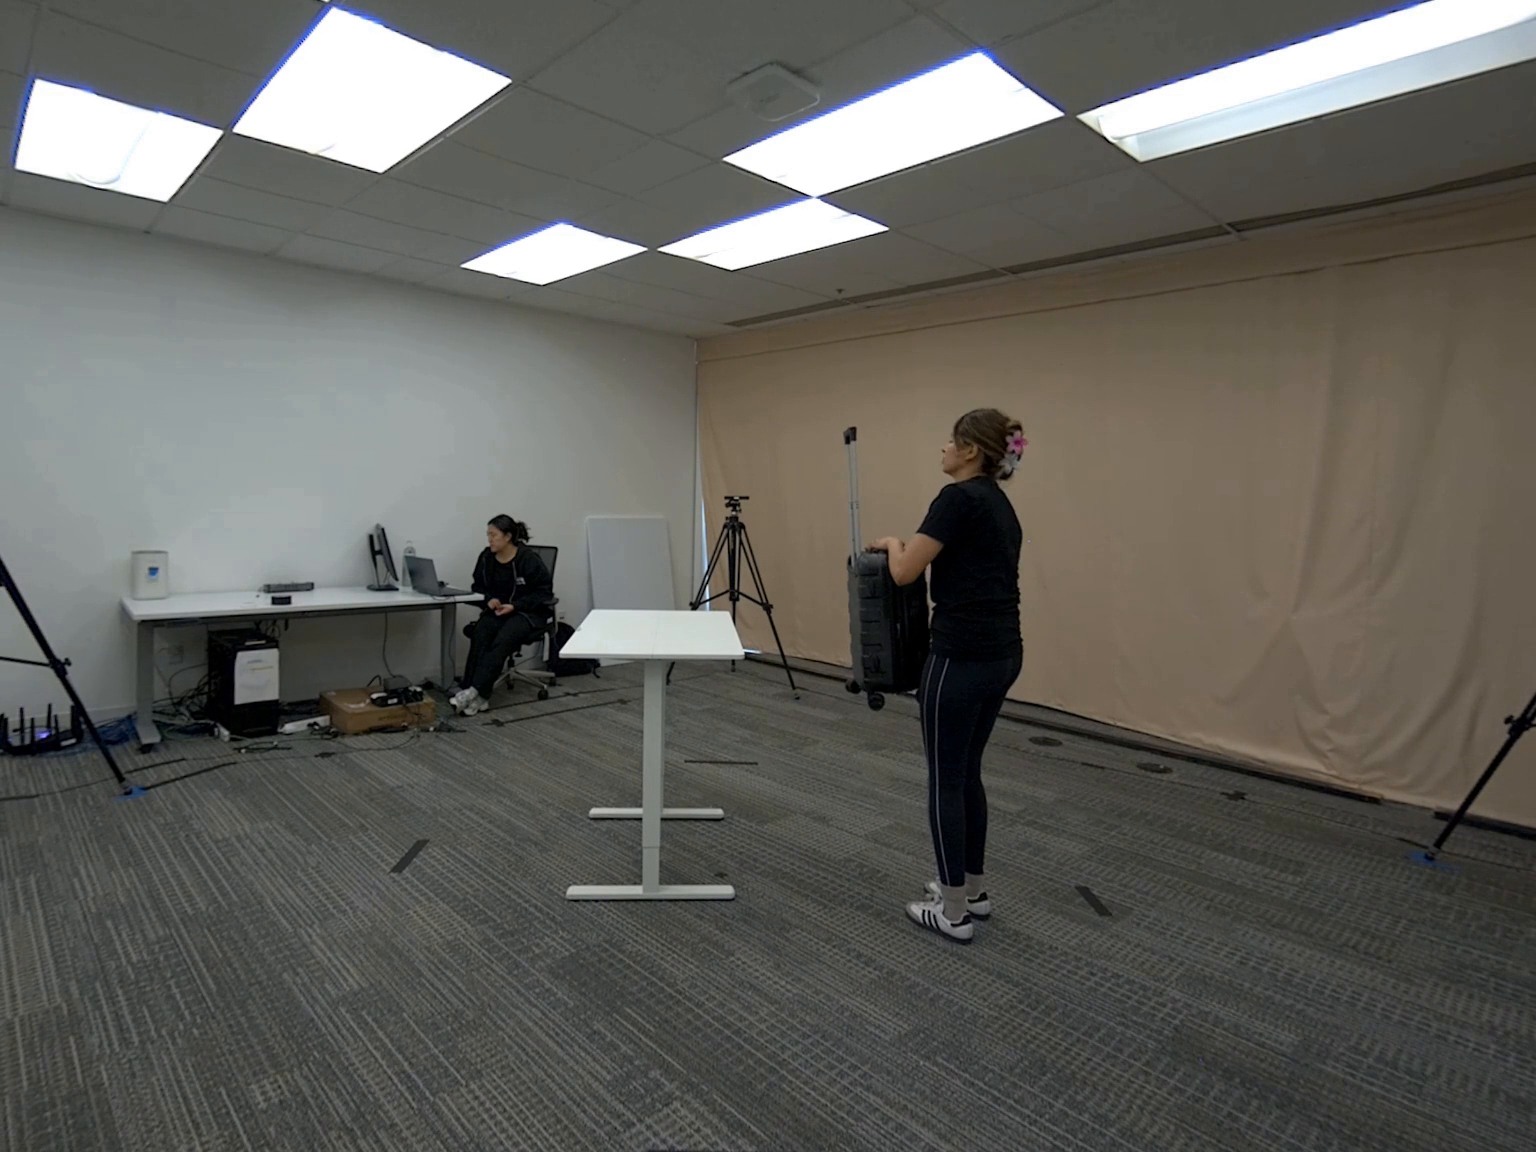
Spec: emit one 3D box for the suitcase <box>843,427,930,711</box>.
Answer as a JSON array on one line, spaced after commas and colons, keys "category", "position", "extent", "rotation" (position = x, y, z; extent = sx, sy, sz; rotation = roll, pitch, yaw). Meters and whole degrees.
[{"category": "suitcase", "position": [0.419, -0.042, 3.037], "extent": [0.257, 0.977, 0.384], "rotation": [0, 2, -1]}]
